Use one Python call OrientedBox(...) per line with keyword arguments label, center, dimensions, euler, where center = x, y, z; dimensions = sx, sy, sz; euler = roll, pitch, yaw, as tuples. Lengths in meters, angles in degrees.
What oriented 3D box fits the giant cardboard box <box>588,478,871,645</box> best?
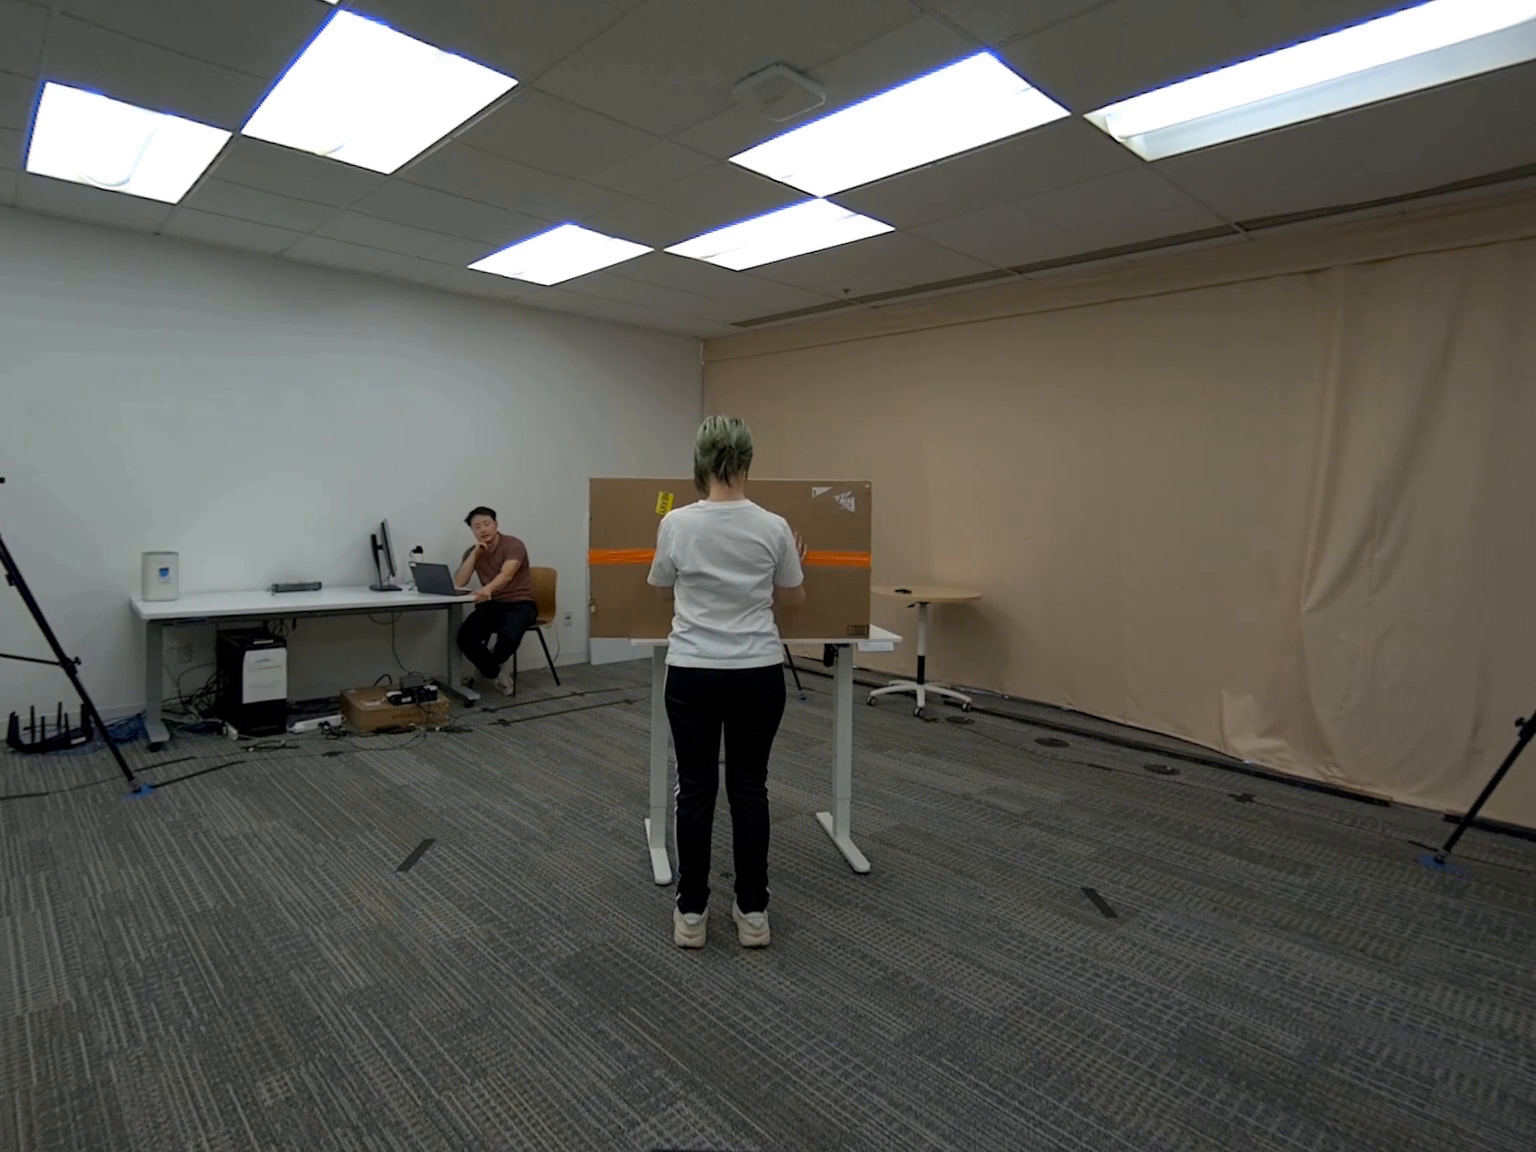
OrientedBox(label="giant cardboard box", center=(-0.165, -0.079, 3.229), dimensions=(1.022, 0.583, 0.450), euler=(0, 3, -6))
